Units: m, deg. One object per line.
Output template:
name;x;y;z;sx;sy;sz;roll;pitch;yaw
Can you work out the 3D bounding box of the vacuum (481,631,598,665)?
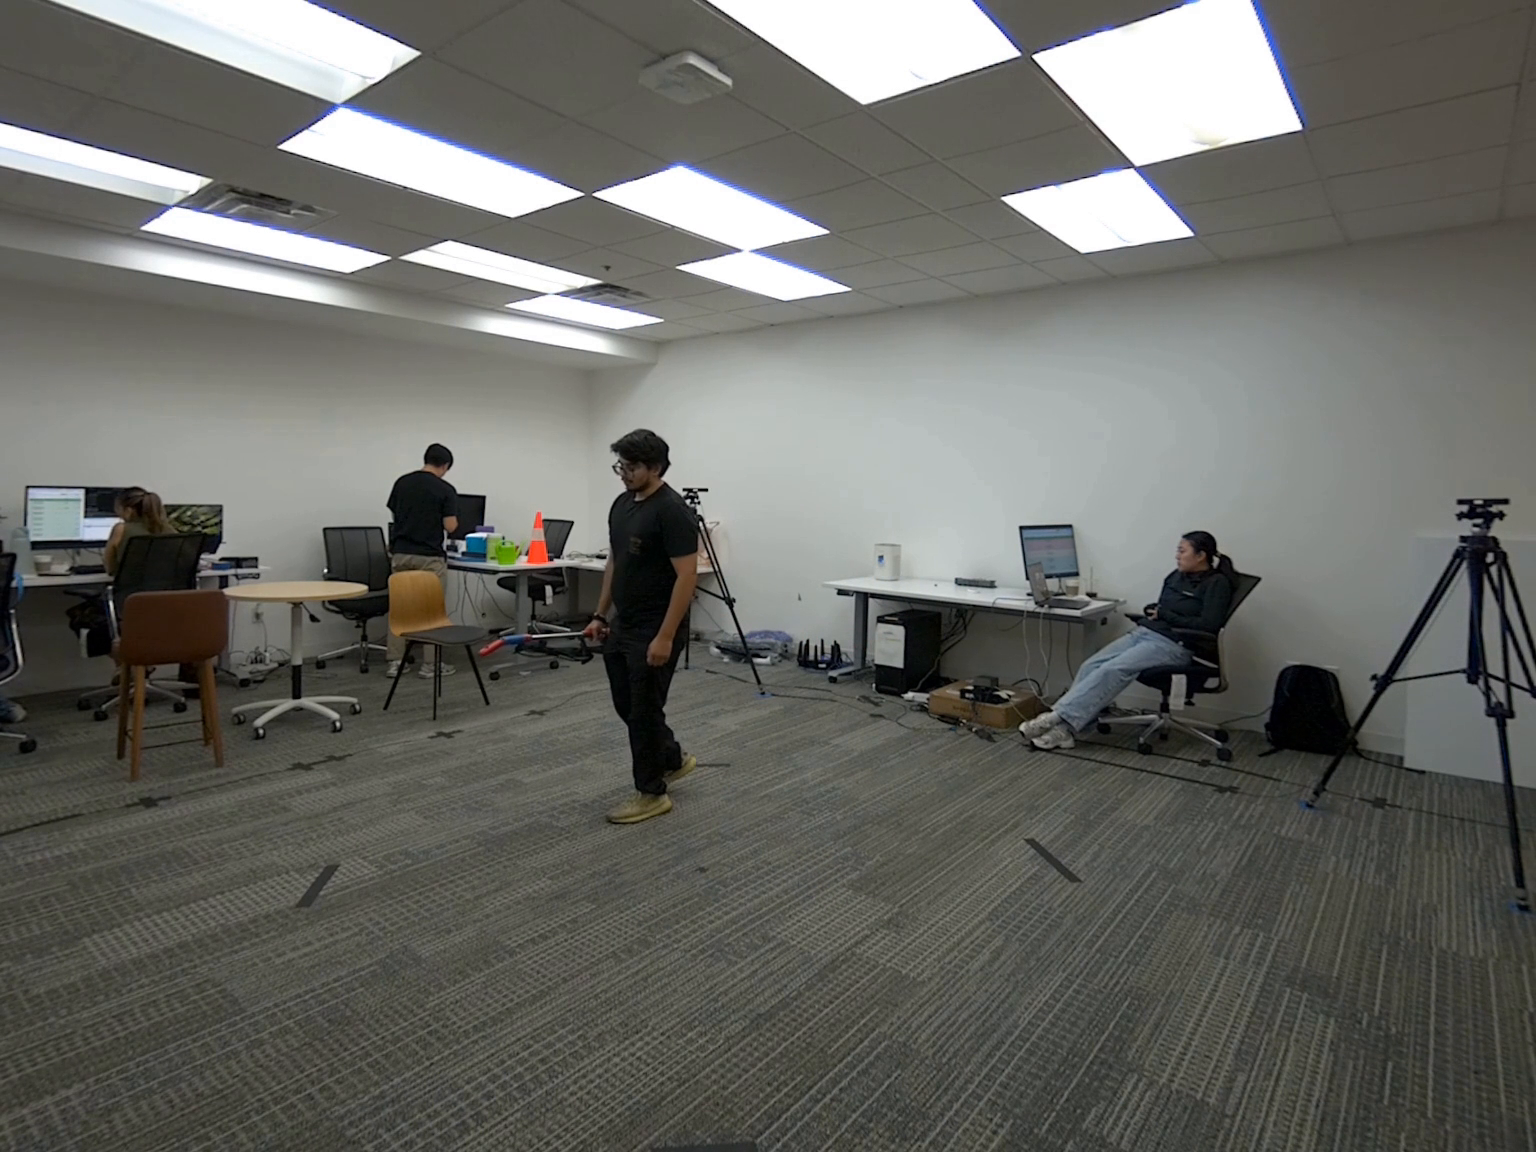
vacuum;-0.832;0.293;3.695;0.262;0.143;1.018;16;9;33
